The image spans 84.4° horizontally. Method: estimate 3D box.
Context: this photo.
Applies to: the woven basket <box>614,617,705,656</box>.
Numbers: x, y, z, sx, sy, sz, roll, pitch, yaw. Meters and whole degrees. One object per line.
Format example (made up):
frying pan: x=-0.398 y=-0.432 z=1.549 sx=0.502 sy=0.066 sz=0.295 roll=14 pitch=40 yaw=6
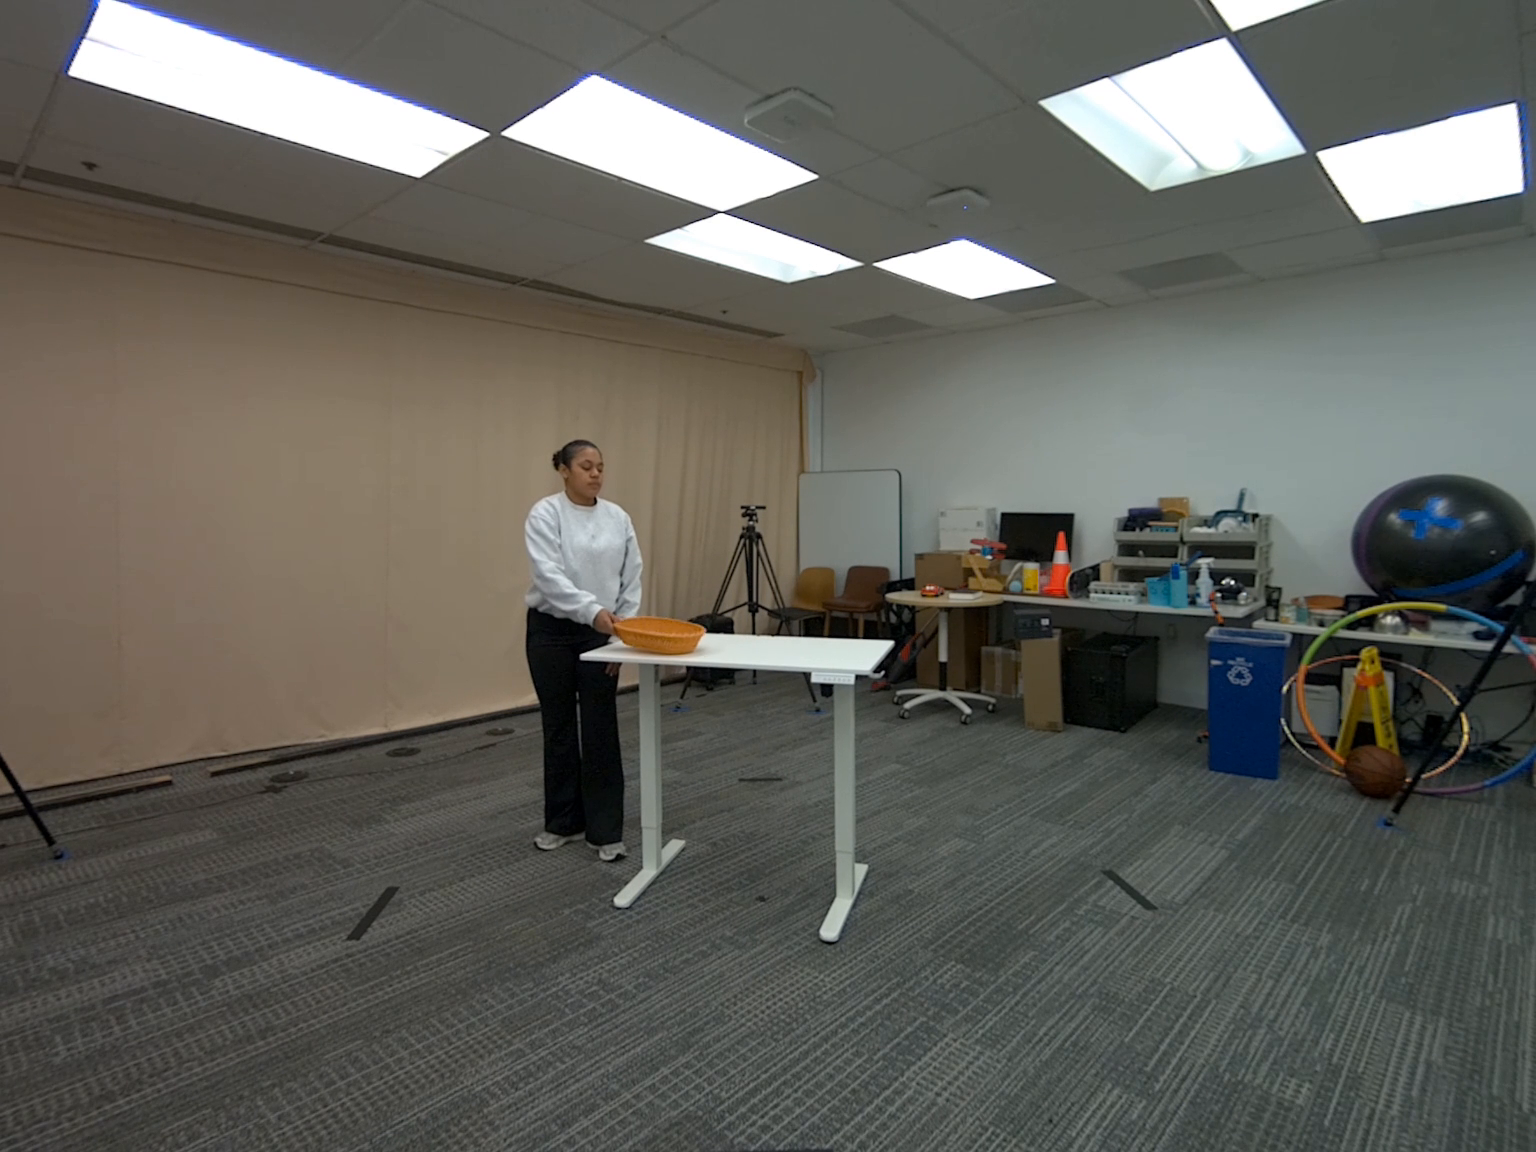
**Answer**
woven basket: x=-0.402 y=0.214 z=2.977 sx=0.361 sy=0.073 sz=0.246 roll=7 pitch=10 yaw=28
